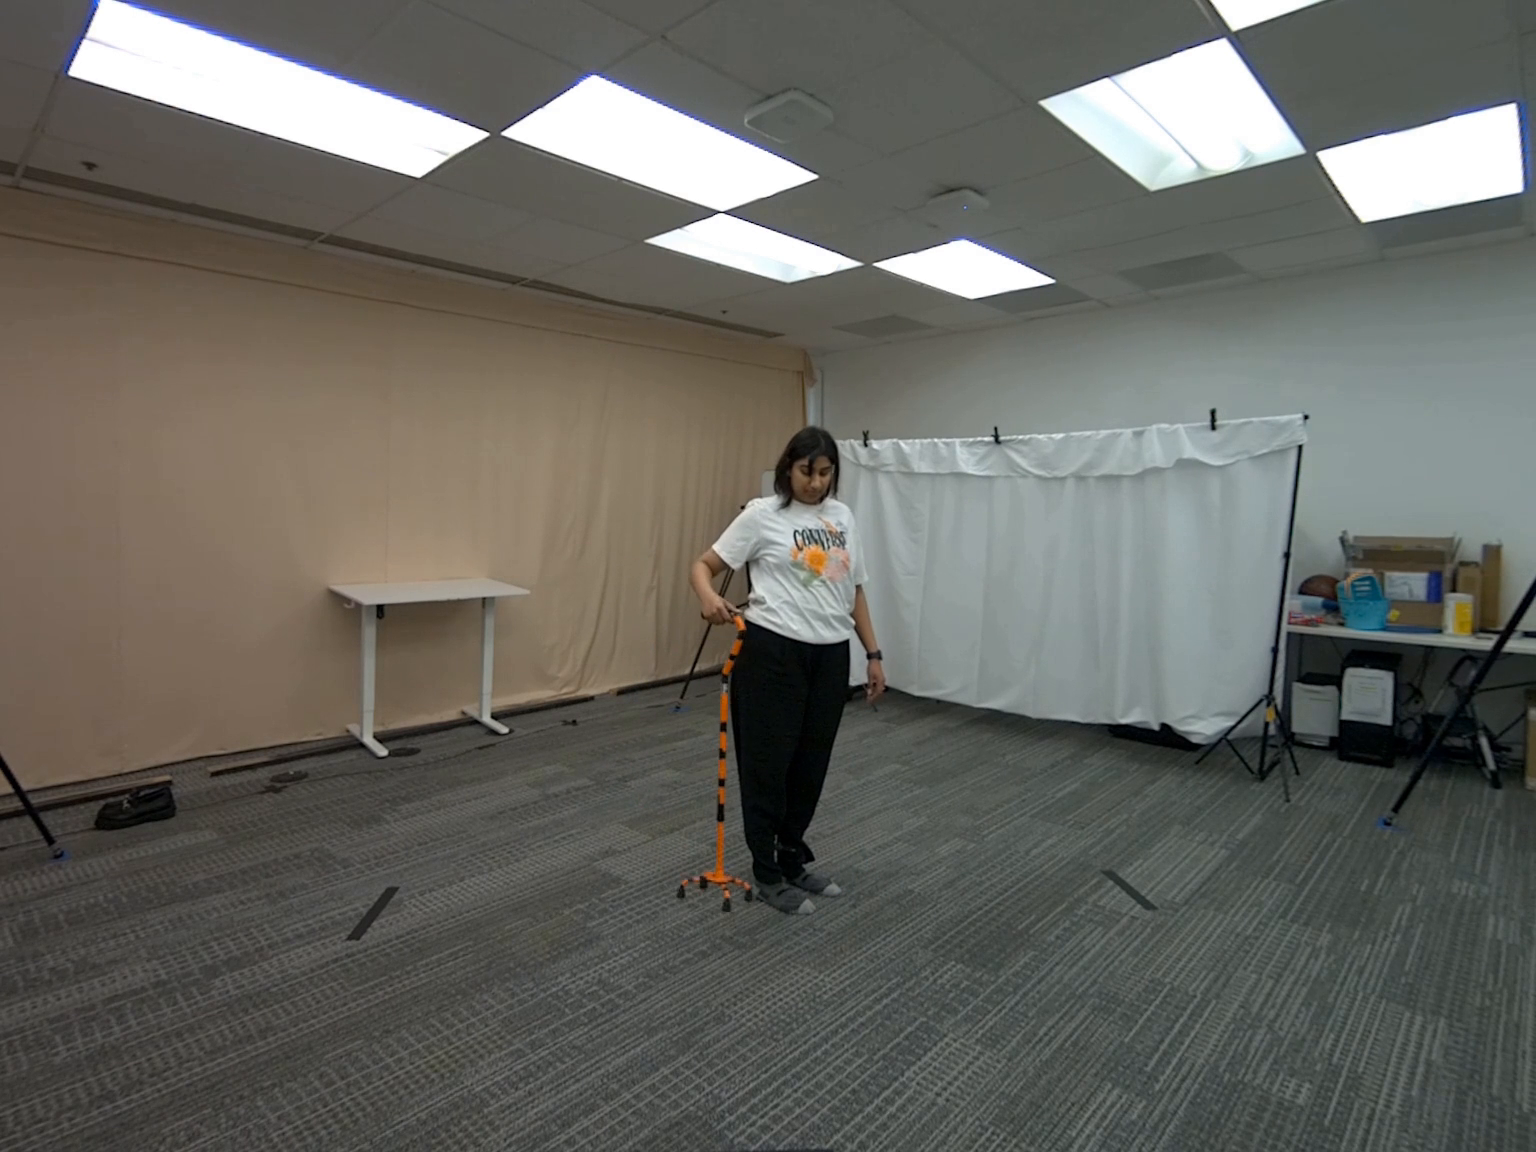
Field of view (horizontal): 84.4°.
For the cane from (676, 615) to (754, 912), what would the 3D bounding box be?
[{"bbox_3d":[-0.146,0.561,2.691,0.213,0.909,0.147,0,-3,33],"label":"cane"}]
